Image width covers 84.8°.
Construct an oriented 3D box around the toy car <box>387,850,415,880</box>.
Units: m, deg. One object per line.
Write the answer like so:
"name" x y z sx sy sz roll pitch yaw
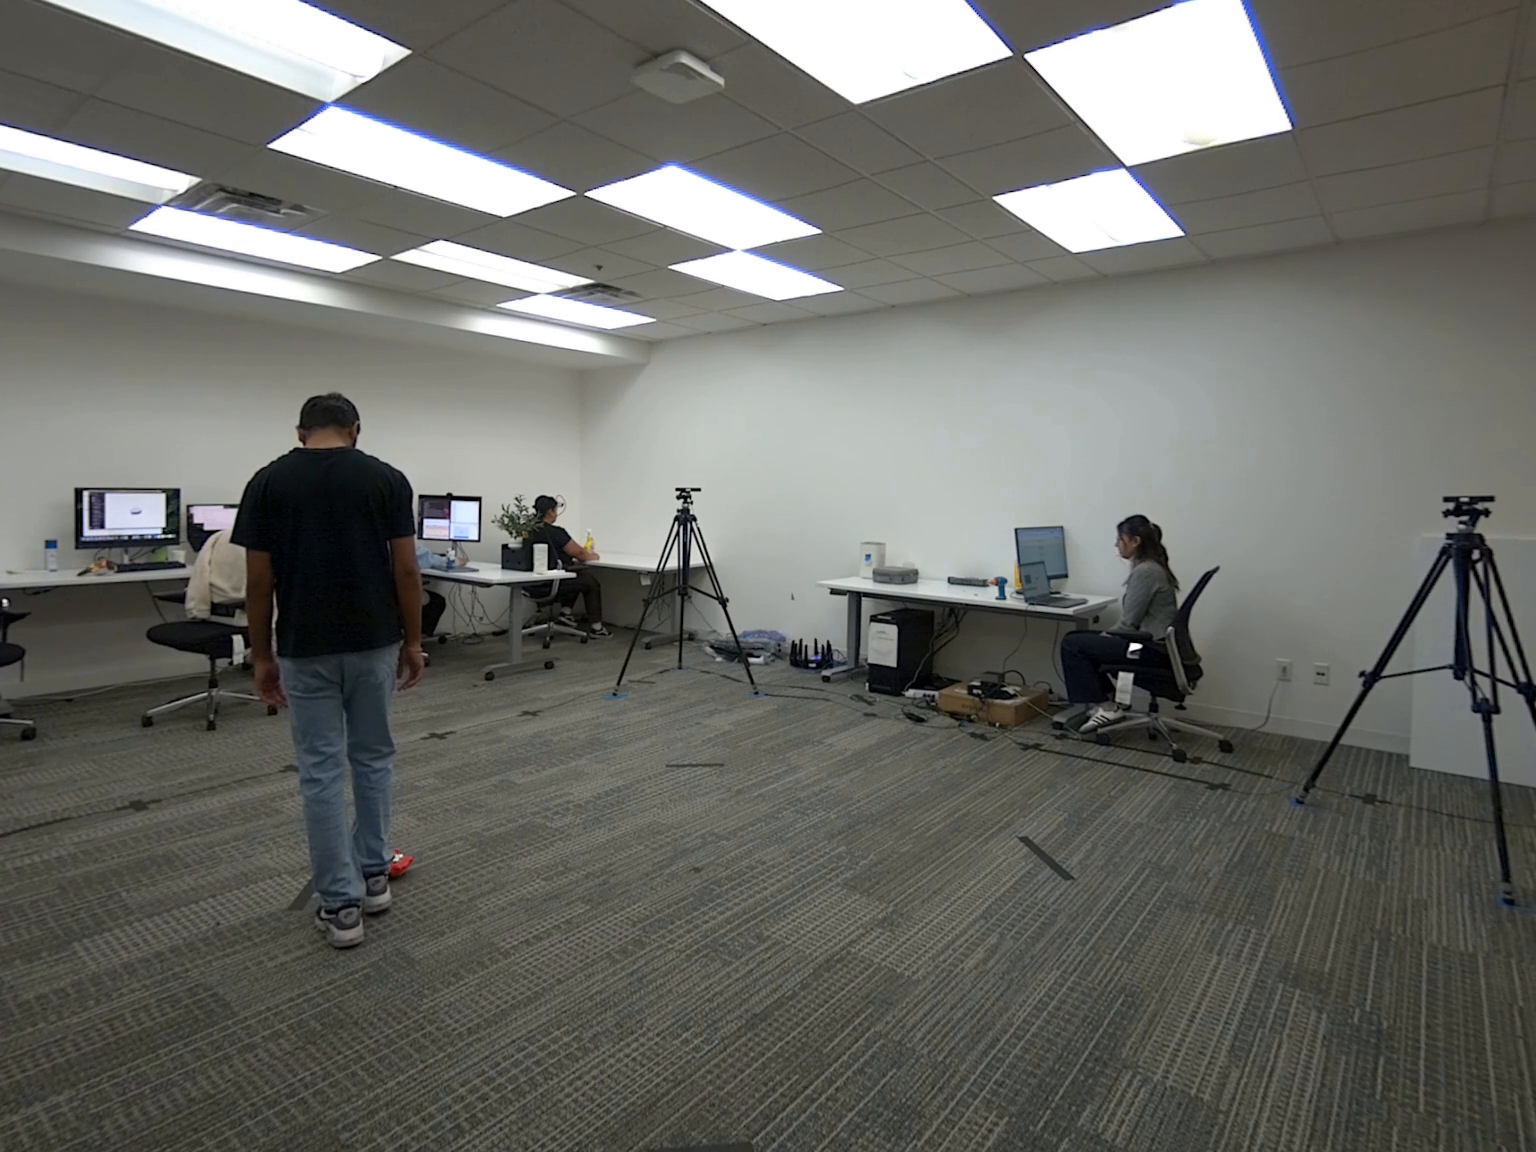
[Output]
"toy car" -1.400 1.029 3.028 0.257 0.083 0.129 -10 3 9
